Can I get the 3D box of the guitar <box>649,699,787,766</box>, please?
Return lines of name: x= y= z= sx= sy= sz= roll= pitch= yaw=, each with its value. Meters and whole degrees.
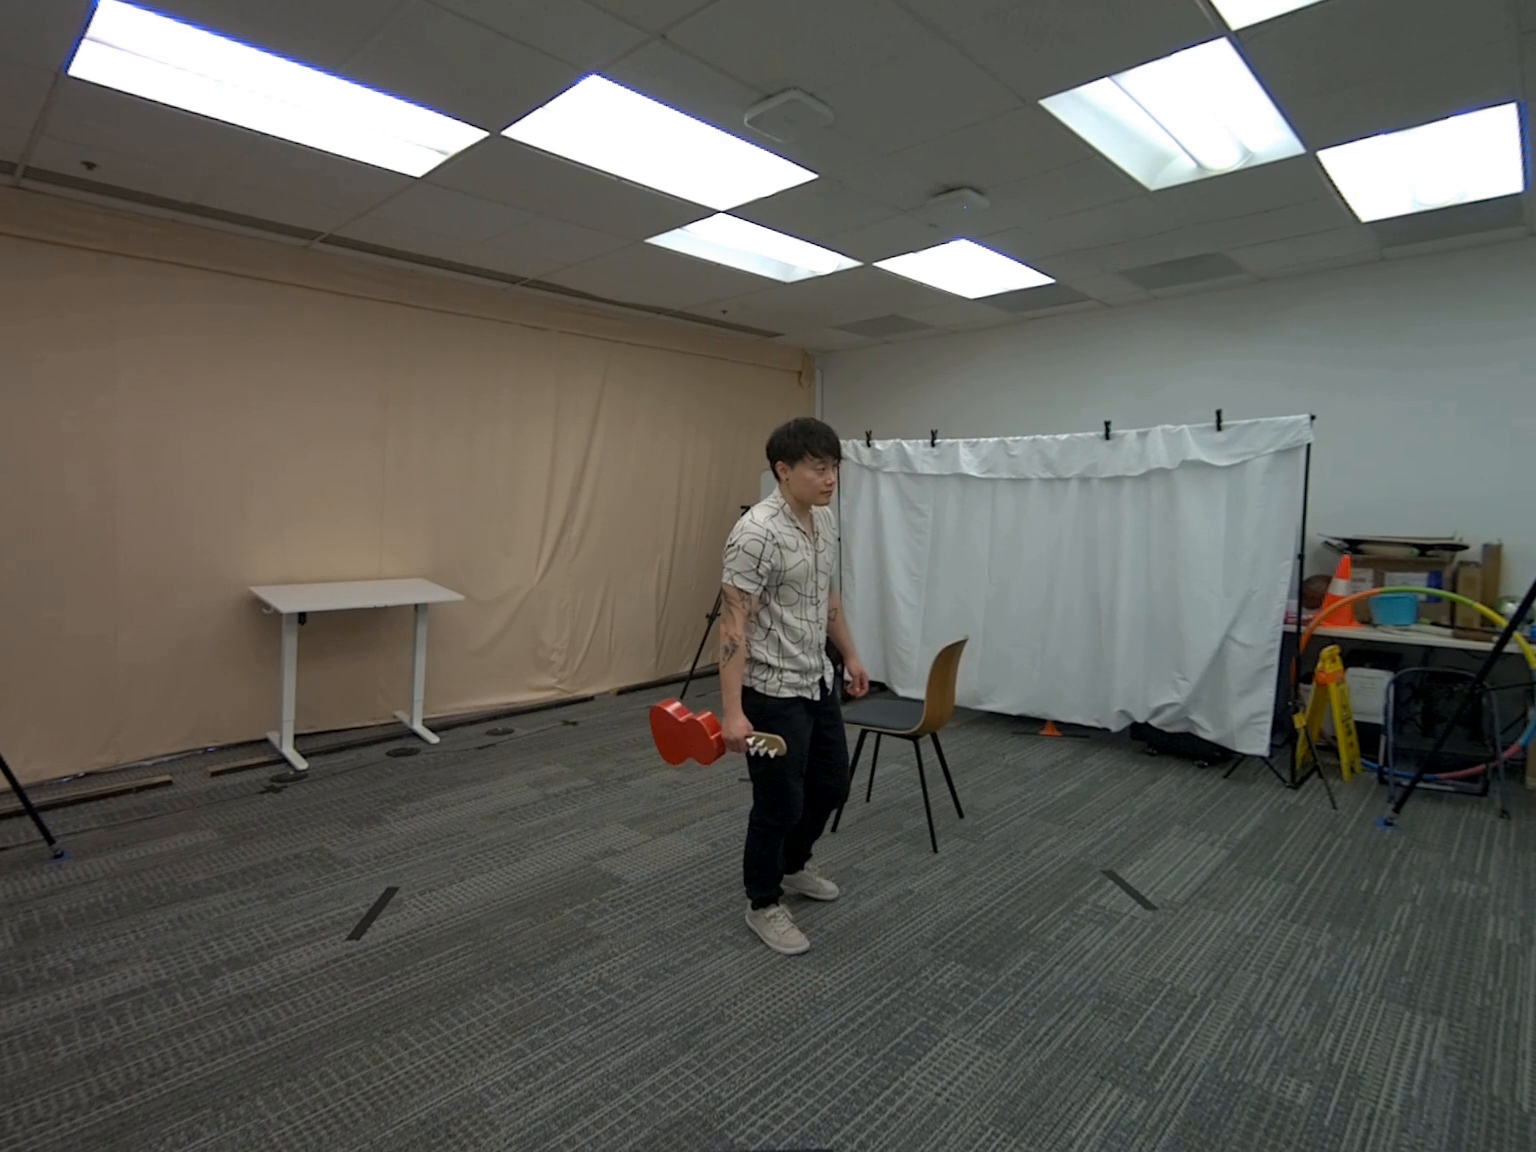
guitar: x=-0.154 y=0.450 z=2.438 sx=0.069 sy=0.192 sz=0.511 roll=-21 pitch=4 yaw=-42
